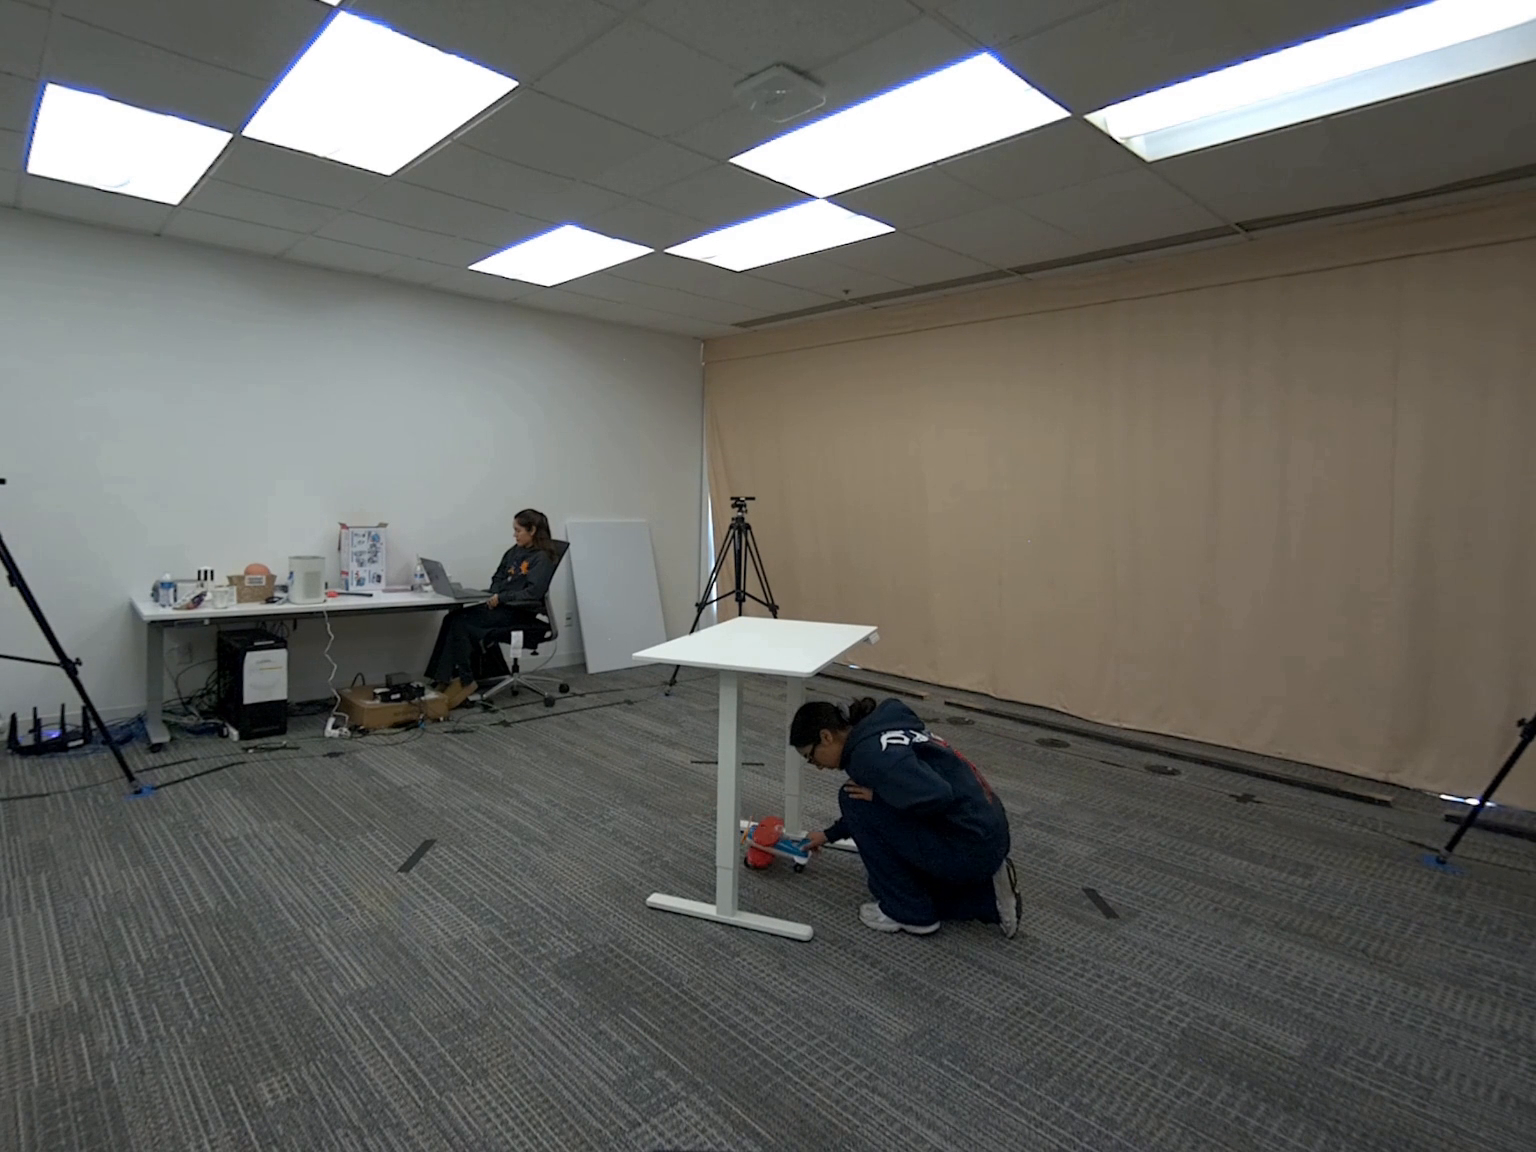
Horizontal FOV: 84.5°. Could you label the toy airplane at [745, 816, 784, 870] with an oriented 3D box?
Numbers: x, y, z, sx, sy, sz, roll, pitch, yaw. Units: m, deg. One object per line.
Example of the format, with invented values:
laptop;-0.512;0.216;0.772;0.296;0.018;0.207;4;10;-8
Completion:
toy airplane;0.027;1.021;3.224;0.256;0.156;0.255;1;6;-13
